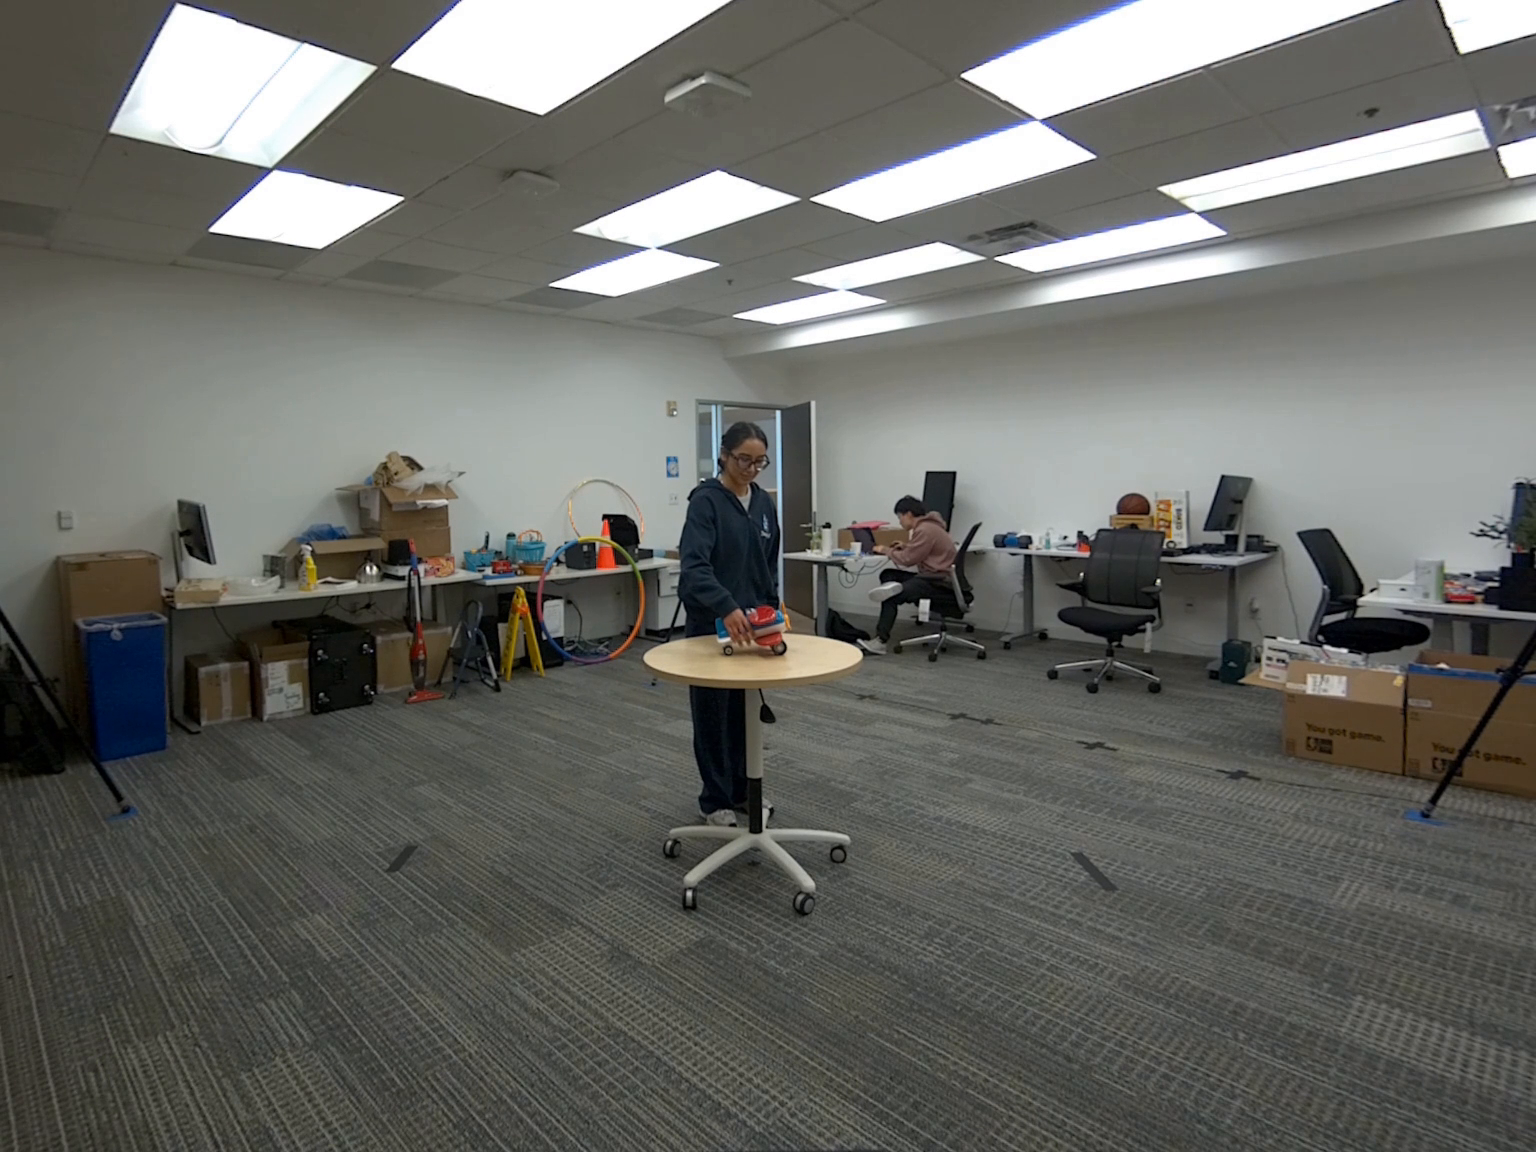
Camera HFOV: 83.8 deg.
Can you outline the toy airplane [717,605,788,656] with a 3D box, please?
[{"bbox_3d":[-0.051,0.203,2.991,0.253,0.155,0.258,-4,7,-30],"label":"toy airplane"}]
